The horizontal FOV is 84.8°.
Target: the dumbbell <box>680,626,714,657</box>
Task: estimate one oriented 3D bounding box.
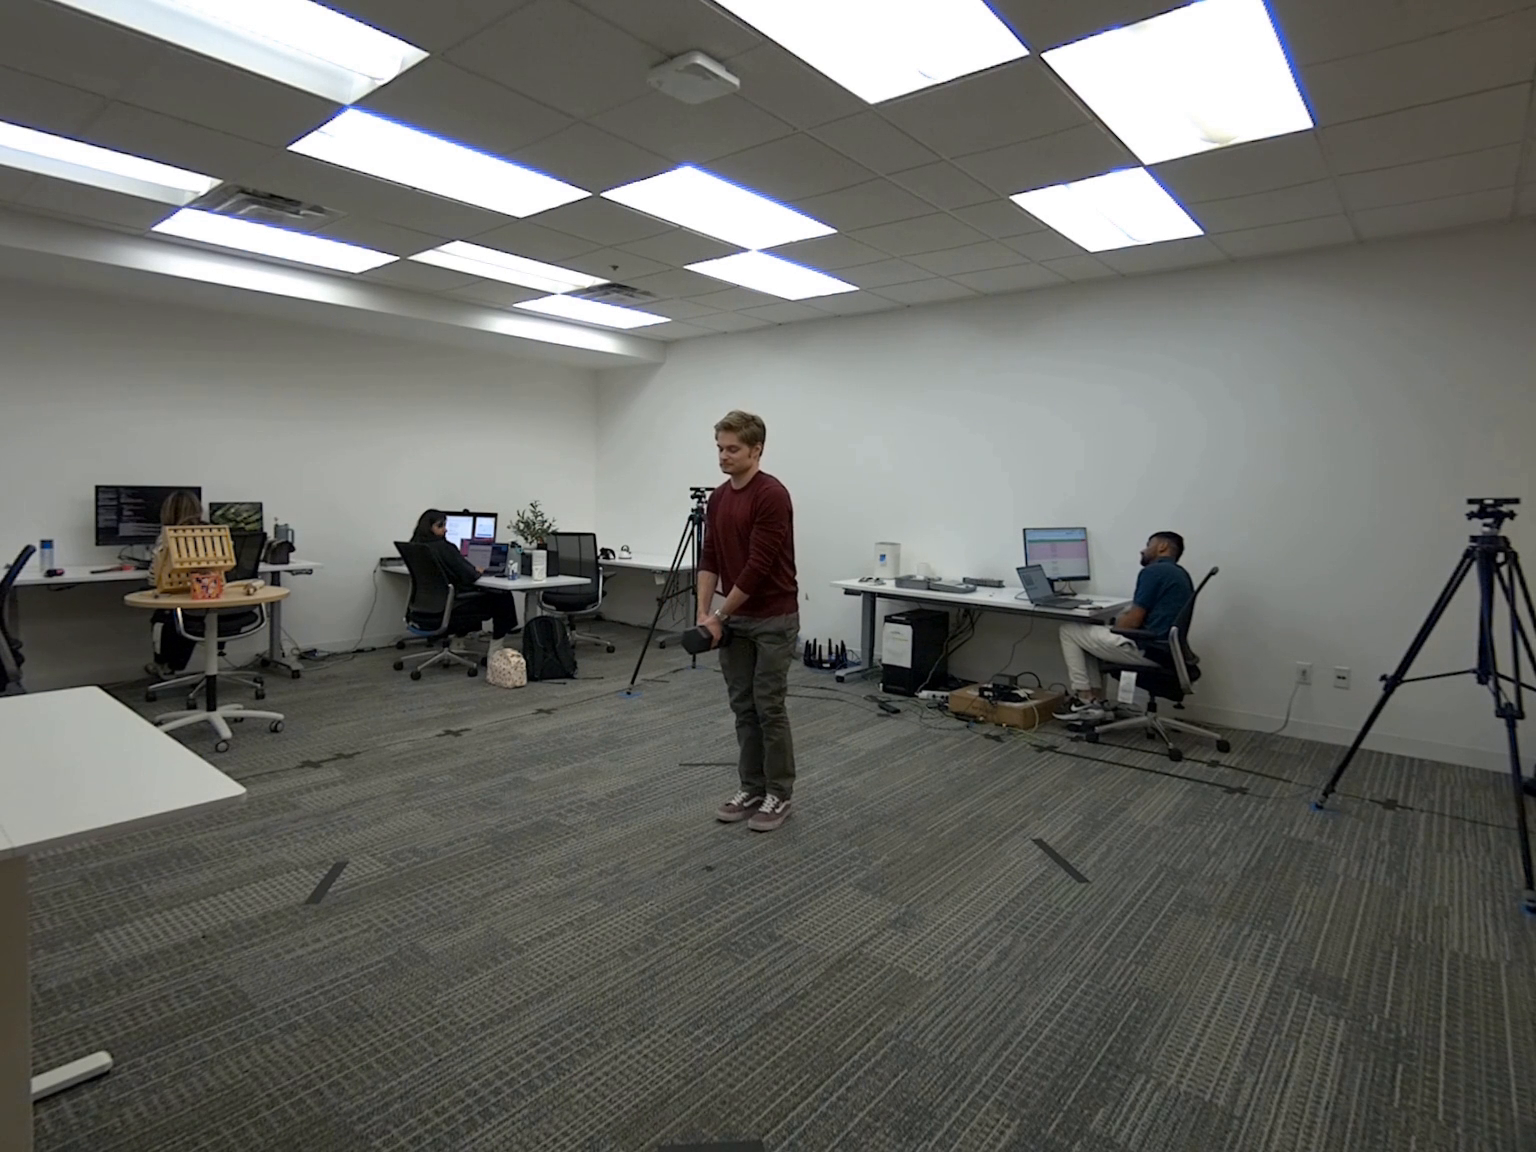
[{"bbox_3d":[-0.262,0.248,3.470,0.126,0.109,0.287,47,14,14],"label":"dumbbell"}]
